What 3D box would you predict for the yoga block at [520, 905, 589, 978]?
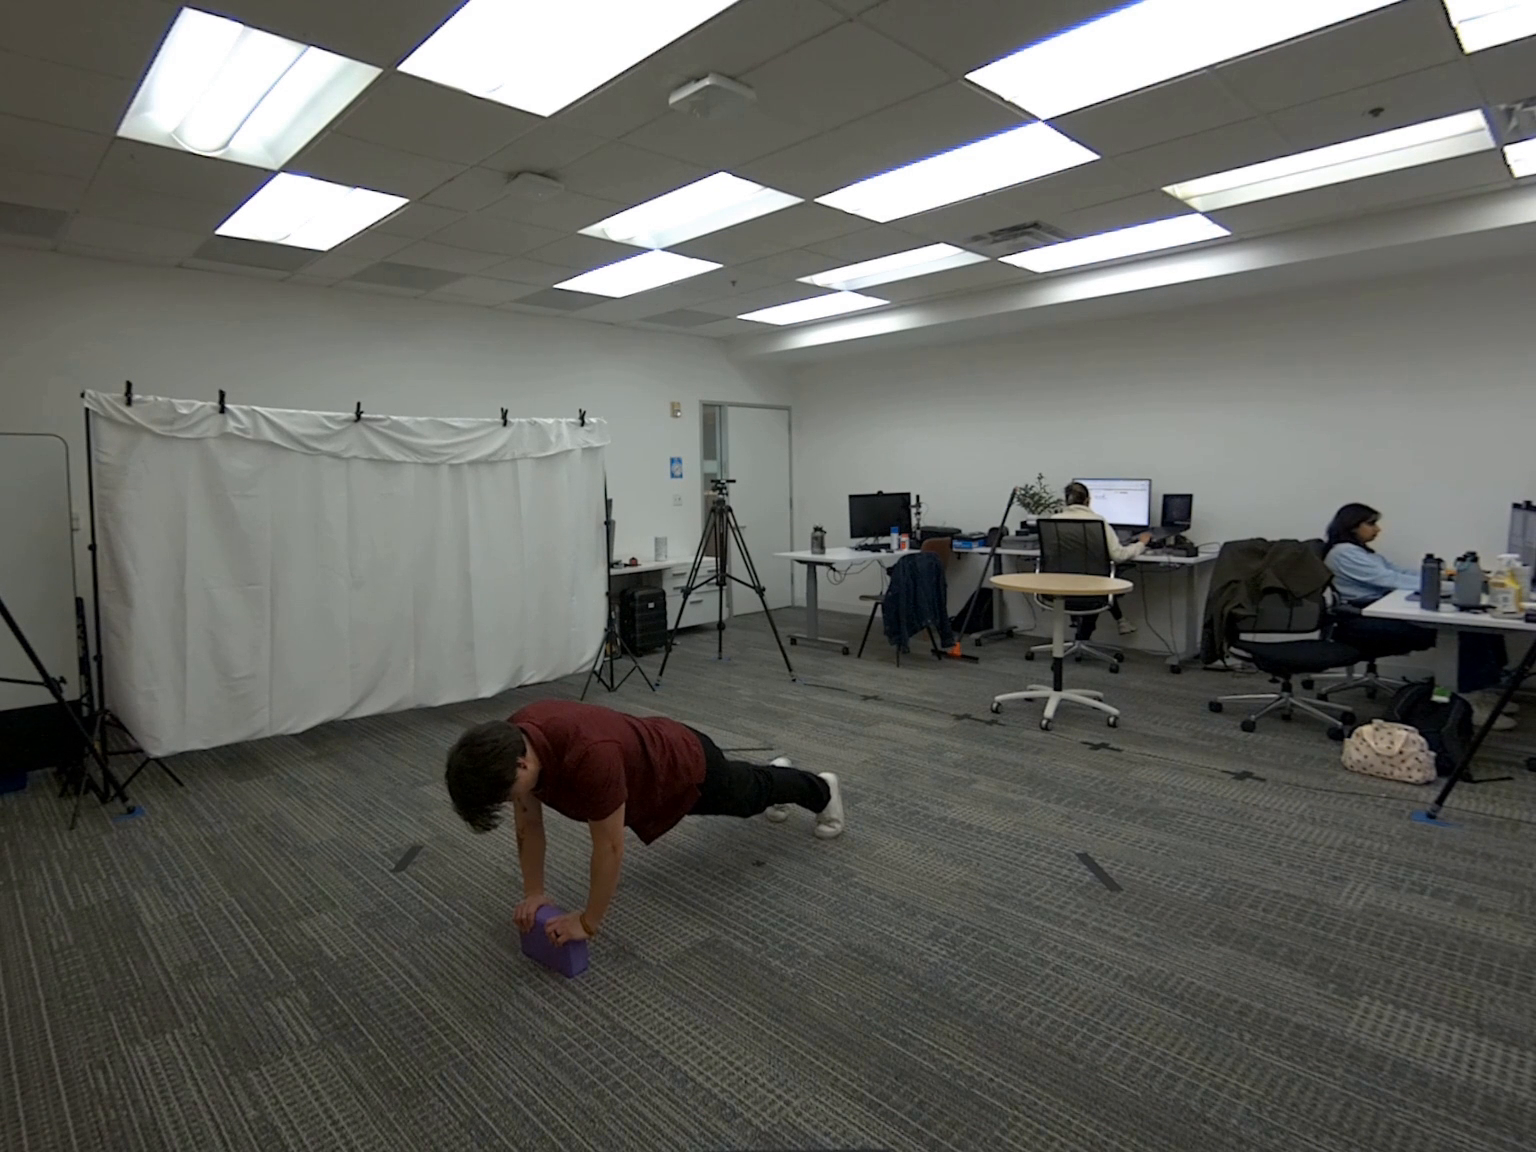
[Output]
[{"bbox_3d":[-0.625,1.063,2.501,0.236,0.147,0.075,5,13,37],"label":"yoga block"}]
